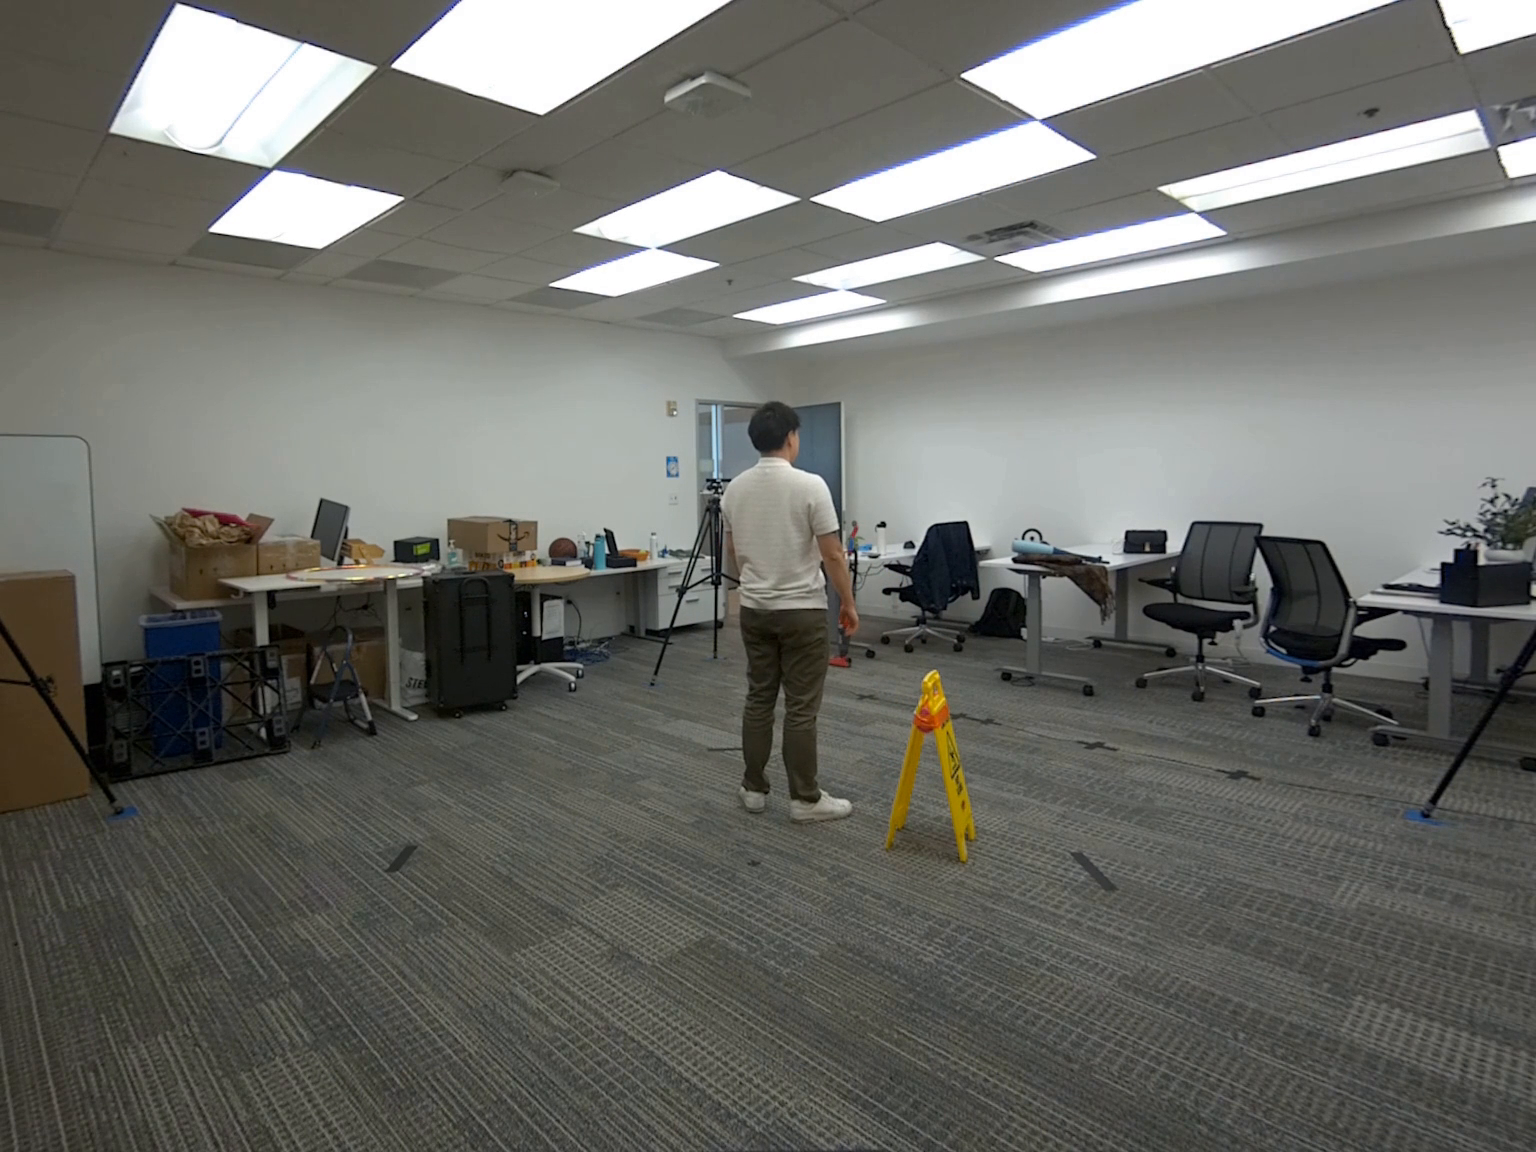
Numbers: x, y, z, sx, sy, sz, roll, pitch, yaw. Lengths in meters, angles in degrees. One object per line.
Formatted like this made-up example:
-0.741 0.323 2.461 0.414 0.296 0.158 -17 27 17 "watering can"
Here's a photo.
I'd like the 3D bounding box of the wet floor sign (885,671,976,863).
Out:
0.618 0.695 3.246 0.296 0.645 0.277 0 3 24 "wet floor sign"
